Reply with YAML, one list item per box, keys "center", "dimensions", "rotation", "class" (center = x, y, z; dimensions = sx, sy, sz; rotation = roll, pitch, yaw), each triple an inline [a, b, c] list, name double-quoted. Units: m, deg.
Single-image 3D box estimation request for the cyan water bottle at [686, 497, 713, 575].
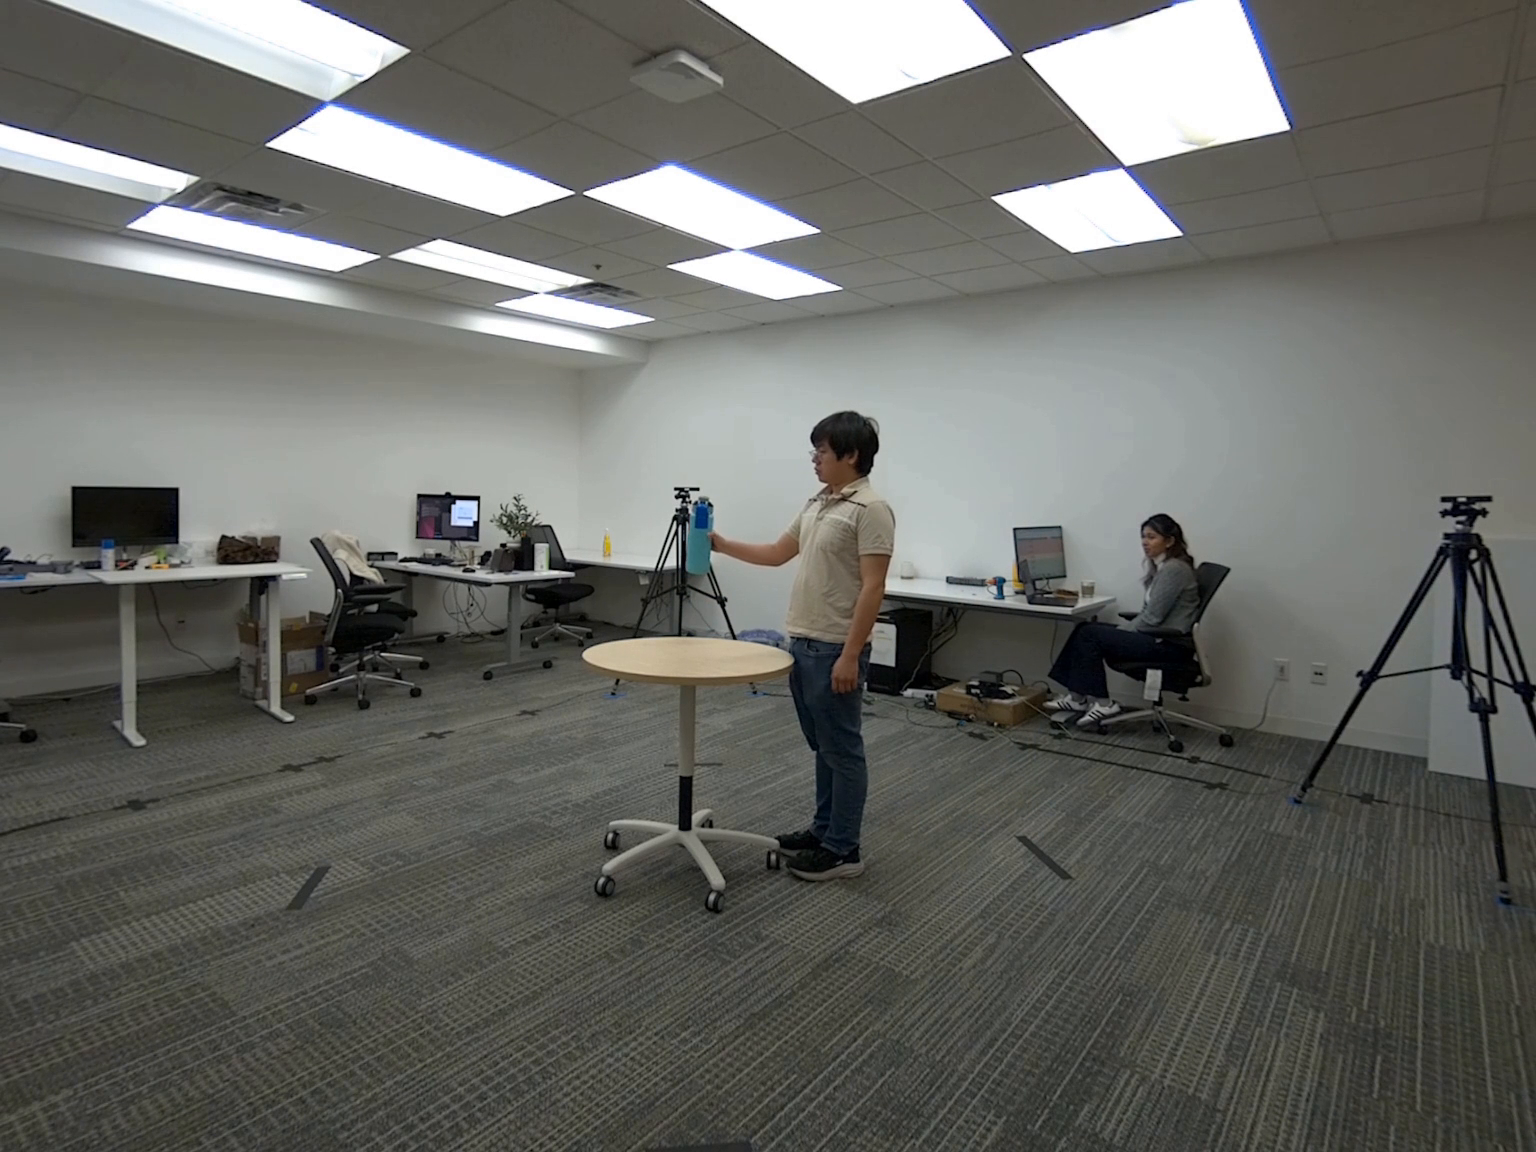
- center: [-0.261, -0.157, 3.171]
  dimensions: [0.092, 0.280, 0.094]
  rotation: [4, 15, -3]
  class: "cyan water bottle"
